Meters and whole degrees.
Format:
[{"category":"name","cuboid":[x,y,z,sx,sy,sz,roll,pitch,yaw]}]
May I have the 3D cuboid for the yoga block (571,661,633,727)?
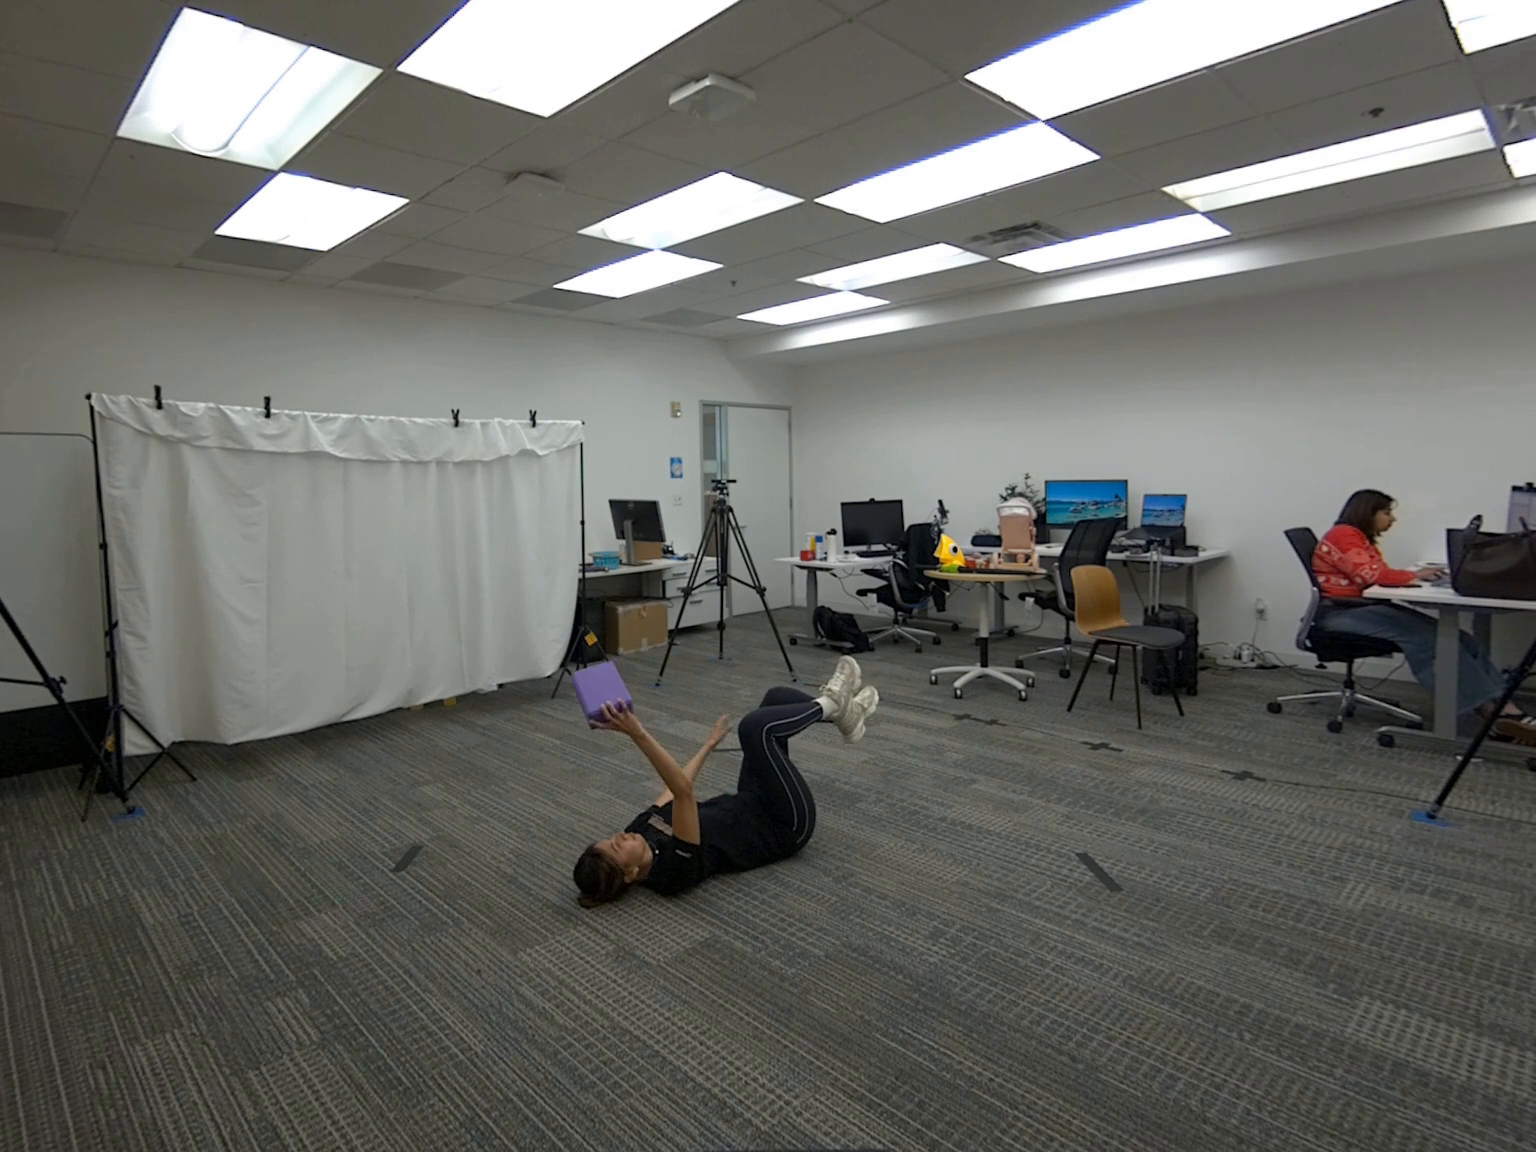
[{"category":"yoga block","cuboid":[-0.537,0.384,2.807,0.147,0.074,0.238,-15,35,-18]}]
